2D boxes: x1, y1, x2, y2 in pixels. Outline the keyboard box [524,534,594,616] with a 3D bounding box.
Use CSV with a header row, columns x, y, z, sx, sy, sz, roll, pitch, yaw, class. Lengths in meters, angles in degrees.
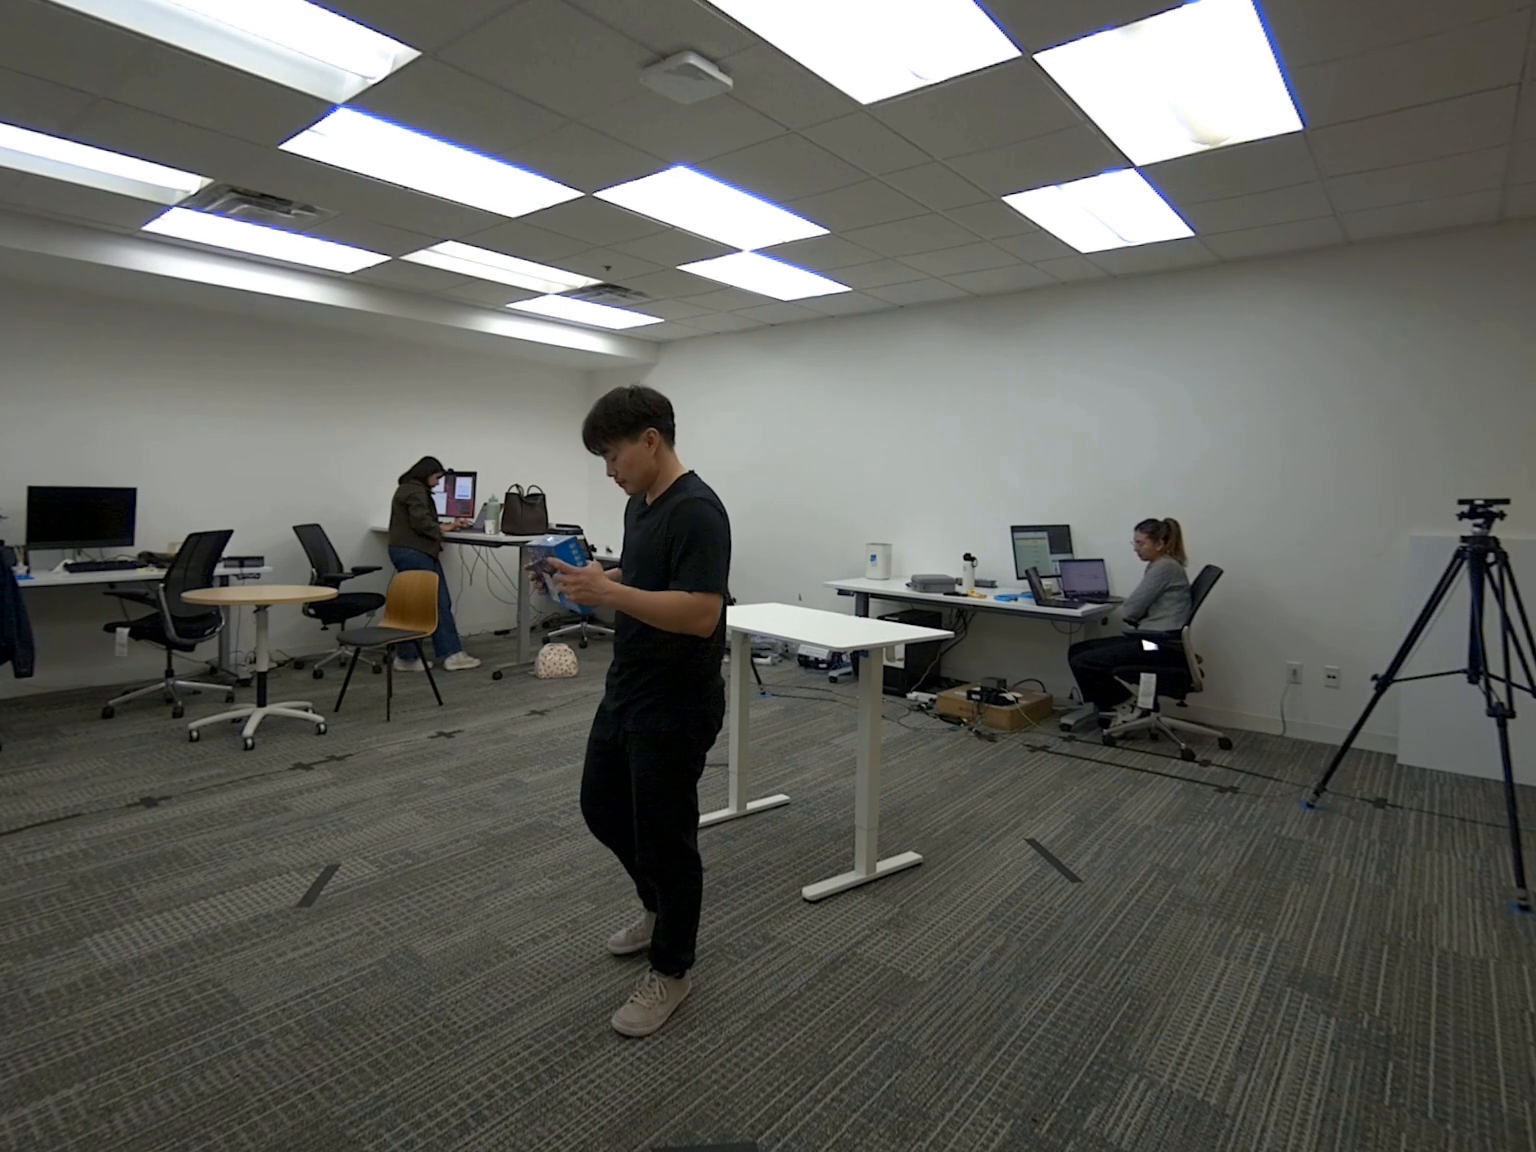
x,y,z,sx,sy,sz,roll,pitch,yaw,class
-0.534,-0.012,2.163,0.058,0.174,0.447,-26,12,-23,keyboard box
